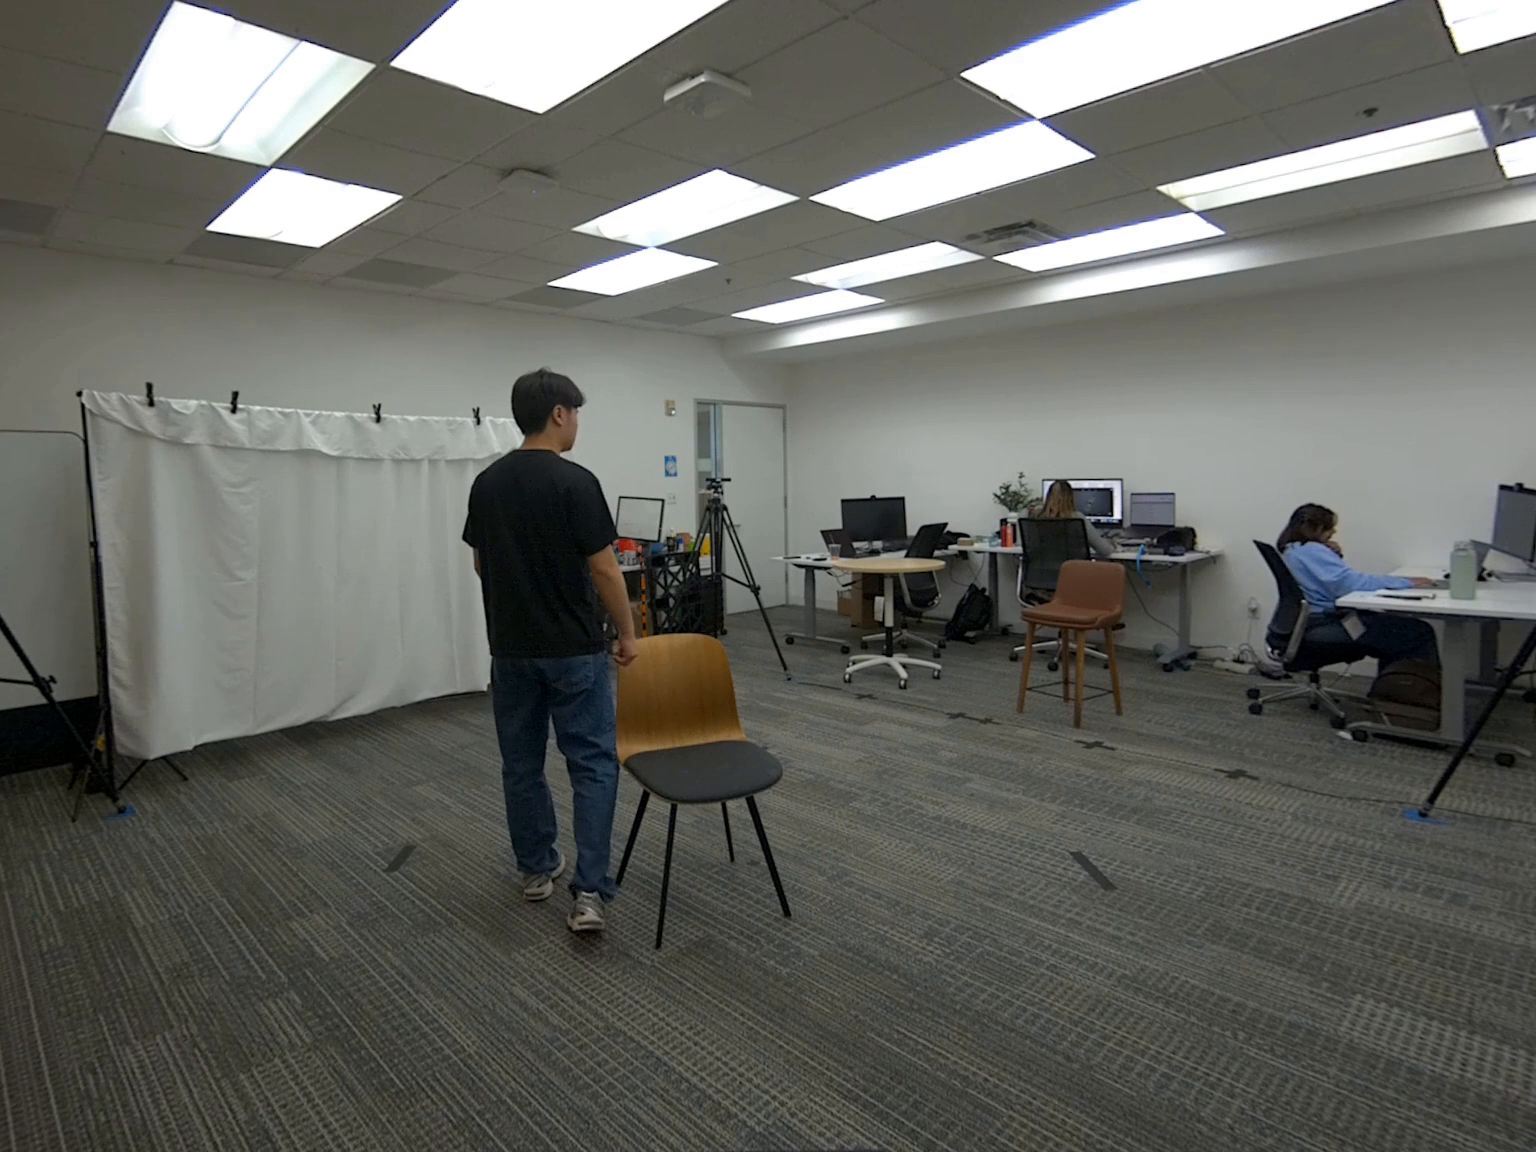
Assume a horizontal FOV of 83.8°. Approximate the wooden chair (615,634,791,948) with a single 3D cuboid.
[{"bbox_3d":[-0.219,0.655,2.799,0.468,0.877,0.534,-3,1,-25],"label":"wooden chair"}]
